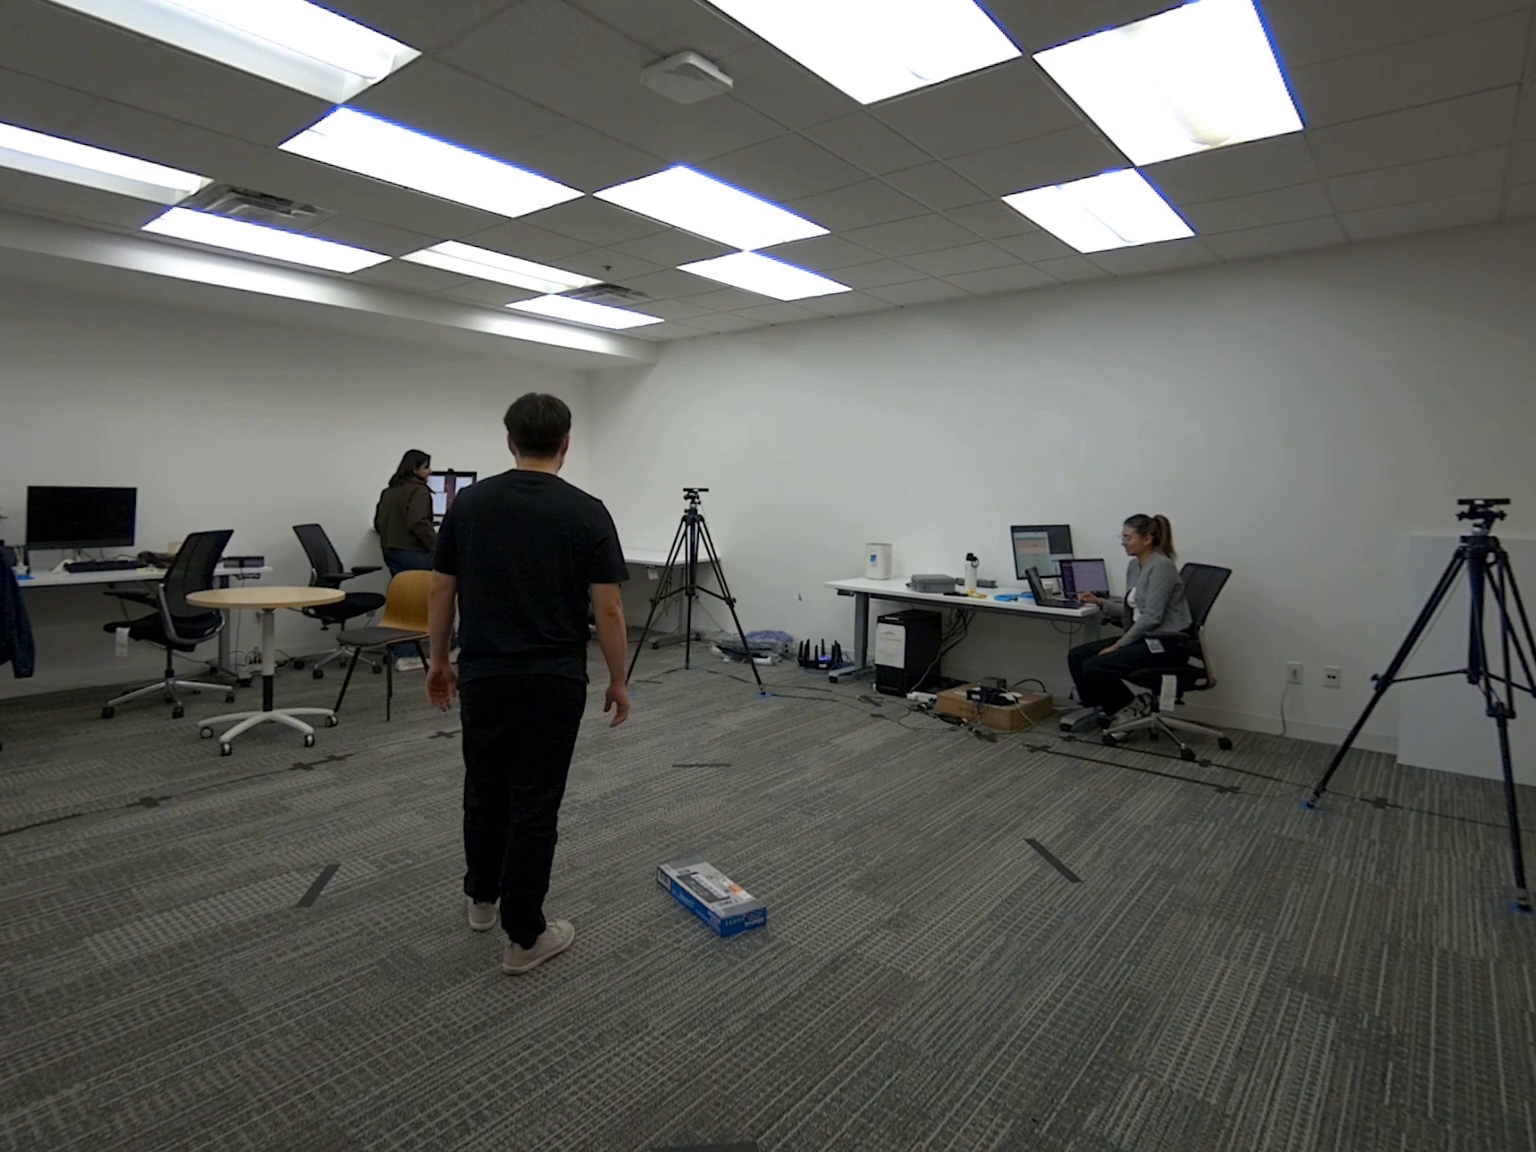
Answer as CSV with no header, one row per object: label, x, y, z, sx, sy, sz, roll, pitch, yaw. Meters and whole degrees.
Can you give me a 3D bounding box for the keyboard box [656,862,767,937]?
keyboard box,-0.202,1.063,2.859,0.171,0.059,0.451,-1,6,-34
